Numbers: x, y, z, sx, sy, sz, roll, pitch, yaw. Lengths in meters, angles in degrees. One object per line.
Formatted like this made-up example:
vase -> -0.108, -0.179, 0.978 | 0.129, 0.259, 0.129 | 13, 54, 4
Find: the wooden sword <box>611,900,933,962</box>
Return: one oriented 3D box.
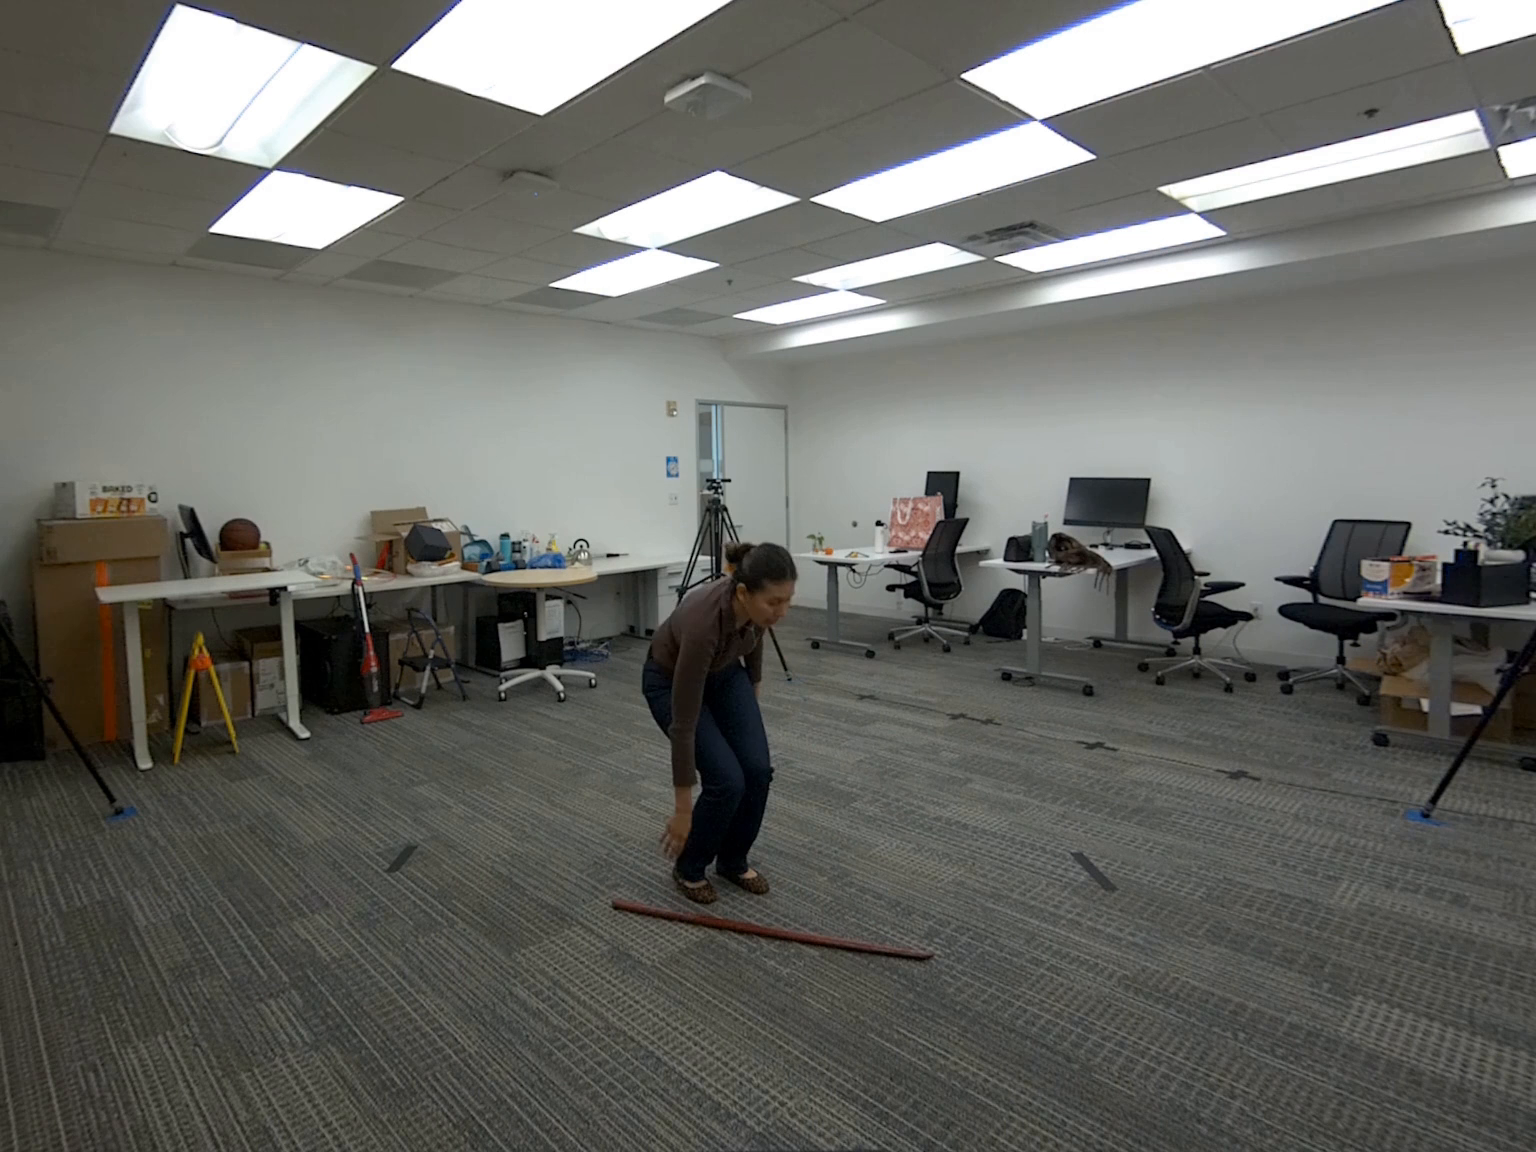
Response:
wooden sword -> -0.032, 1.068, 2.636 | 1.044, 0.050, 0.024 | 3, 30, 19
